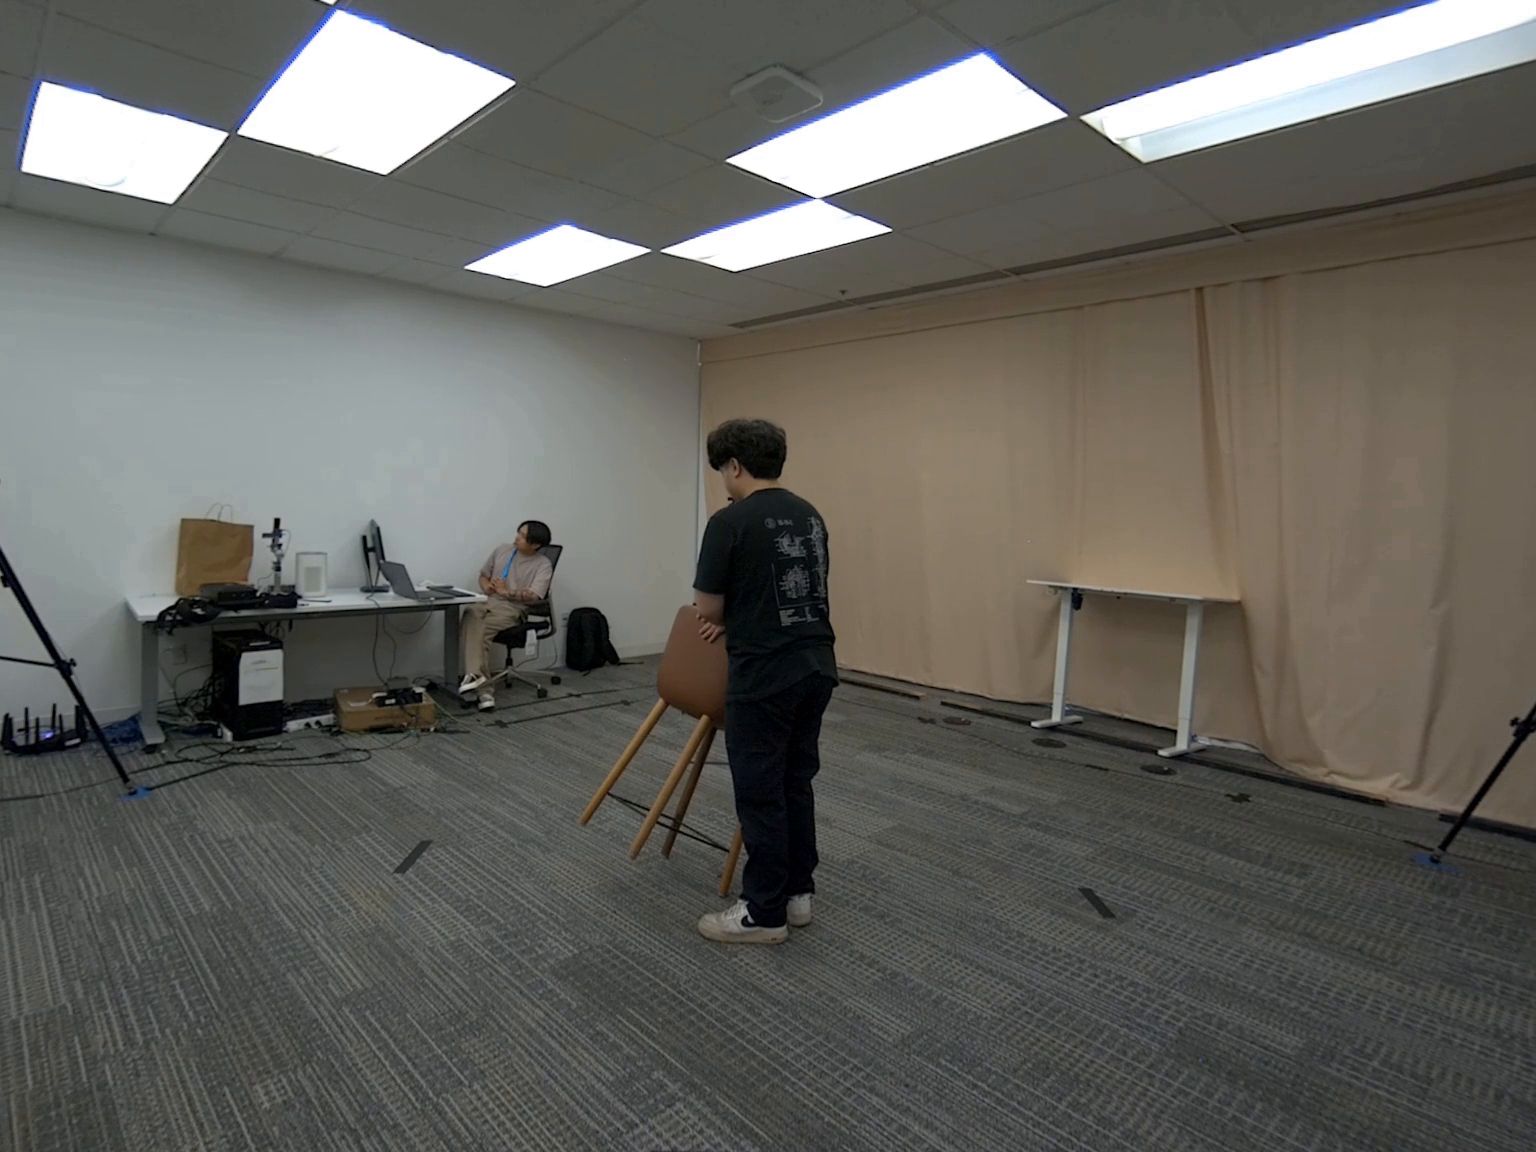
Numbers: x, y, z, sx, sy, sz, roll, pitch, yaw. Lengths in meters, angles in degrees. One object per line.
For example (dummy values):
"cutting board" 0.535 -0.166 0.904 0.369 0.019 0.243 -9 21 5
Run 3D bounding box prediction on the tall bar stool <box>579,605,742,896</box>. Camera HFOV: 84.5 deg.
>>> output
"tall bar stool" -0.260 0.616 3.088 0.454 0.894 0.468 33 -17 -35
